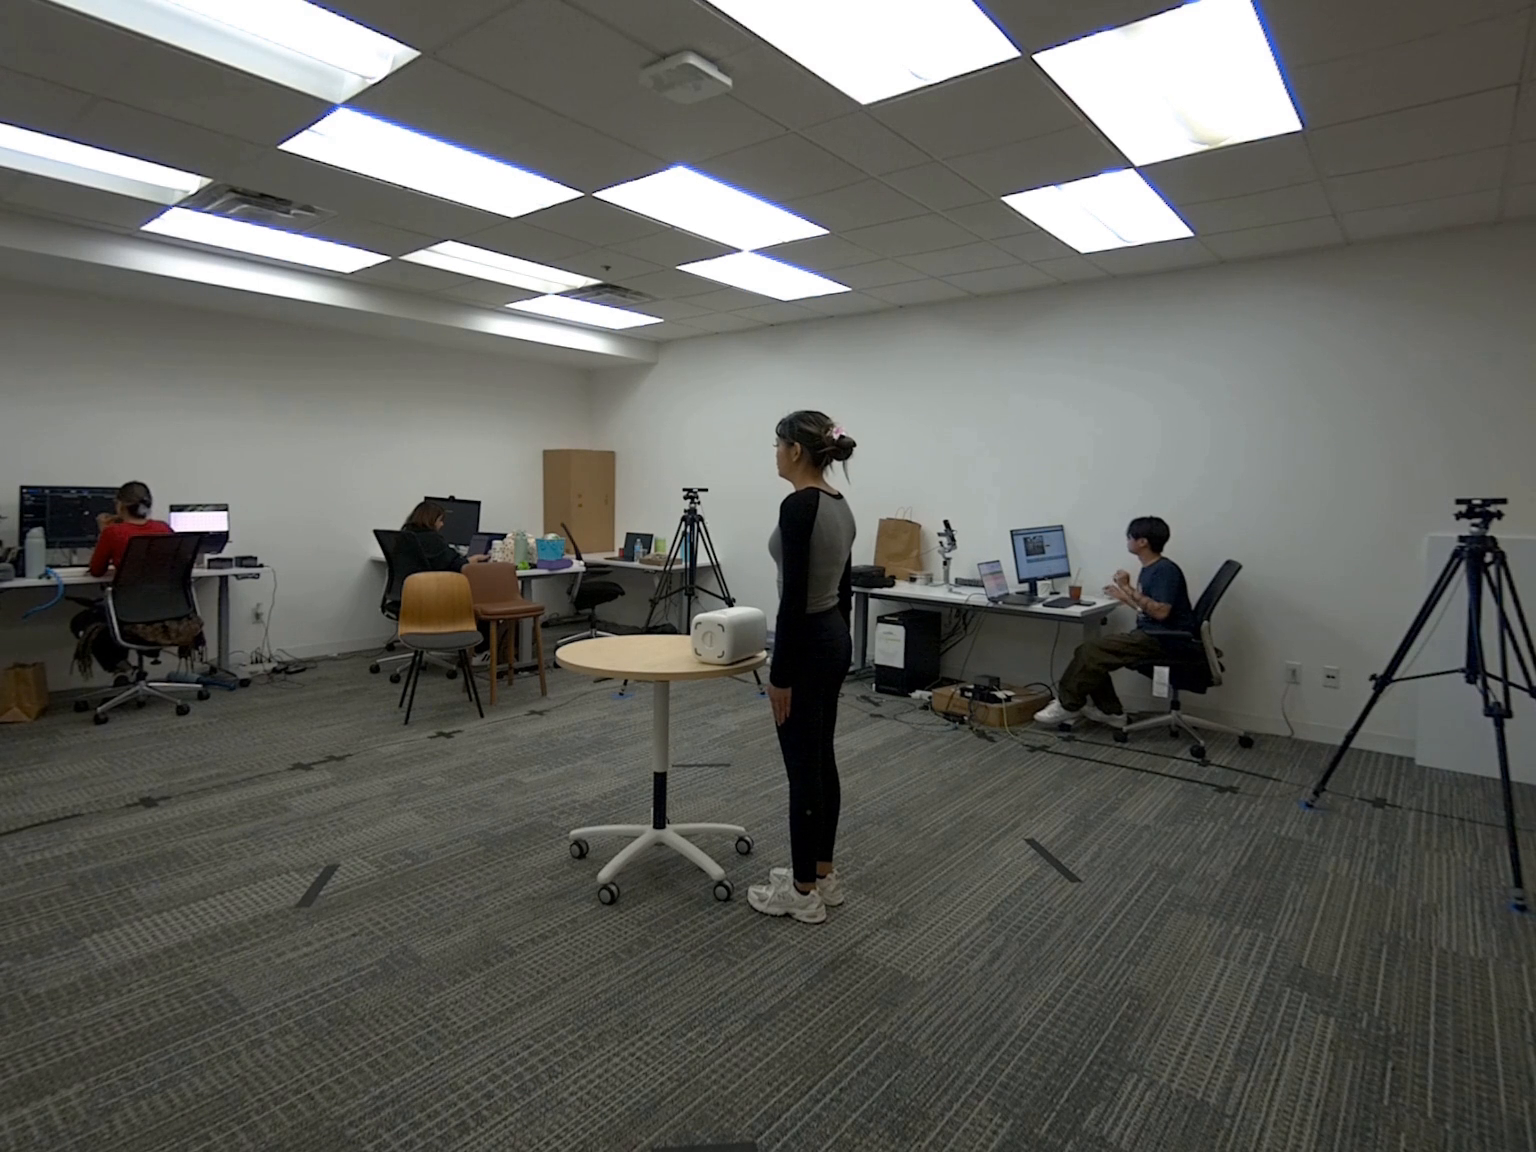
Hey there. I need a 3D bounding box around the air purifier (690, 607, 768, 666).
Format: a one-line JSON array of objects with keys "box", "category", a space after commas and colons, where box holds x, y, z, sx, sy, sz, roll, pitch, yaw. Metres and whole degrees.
[{"box": [-0.147, 0.202, 2.967, 0.176, 0.171, 0.259, 4, 5, 27], "category": "air purifier"}]
